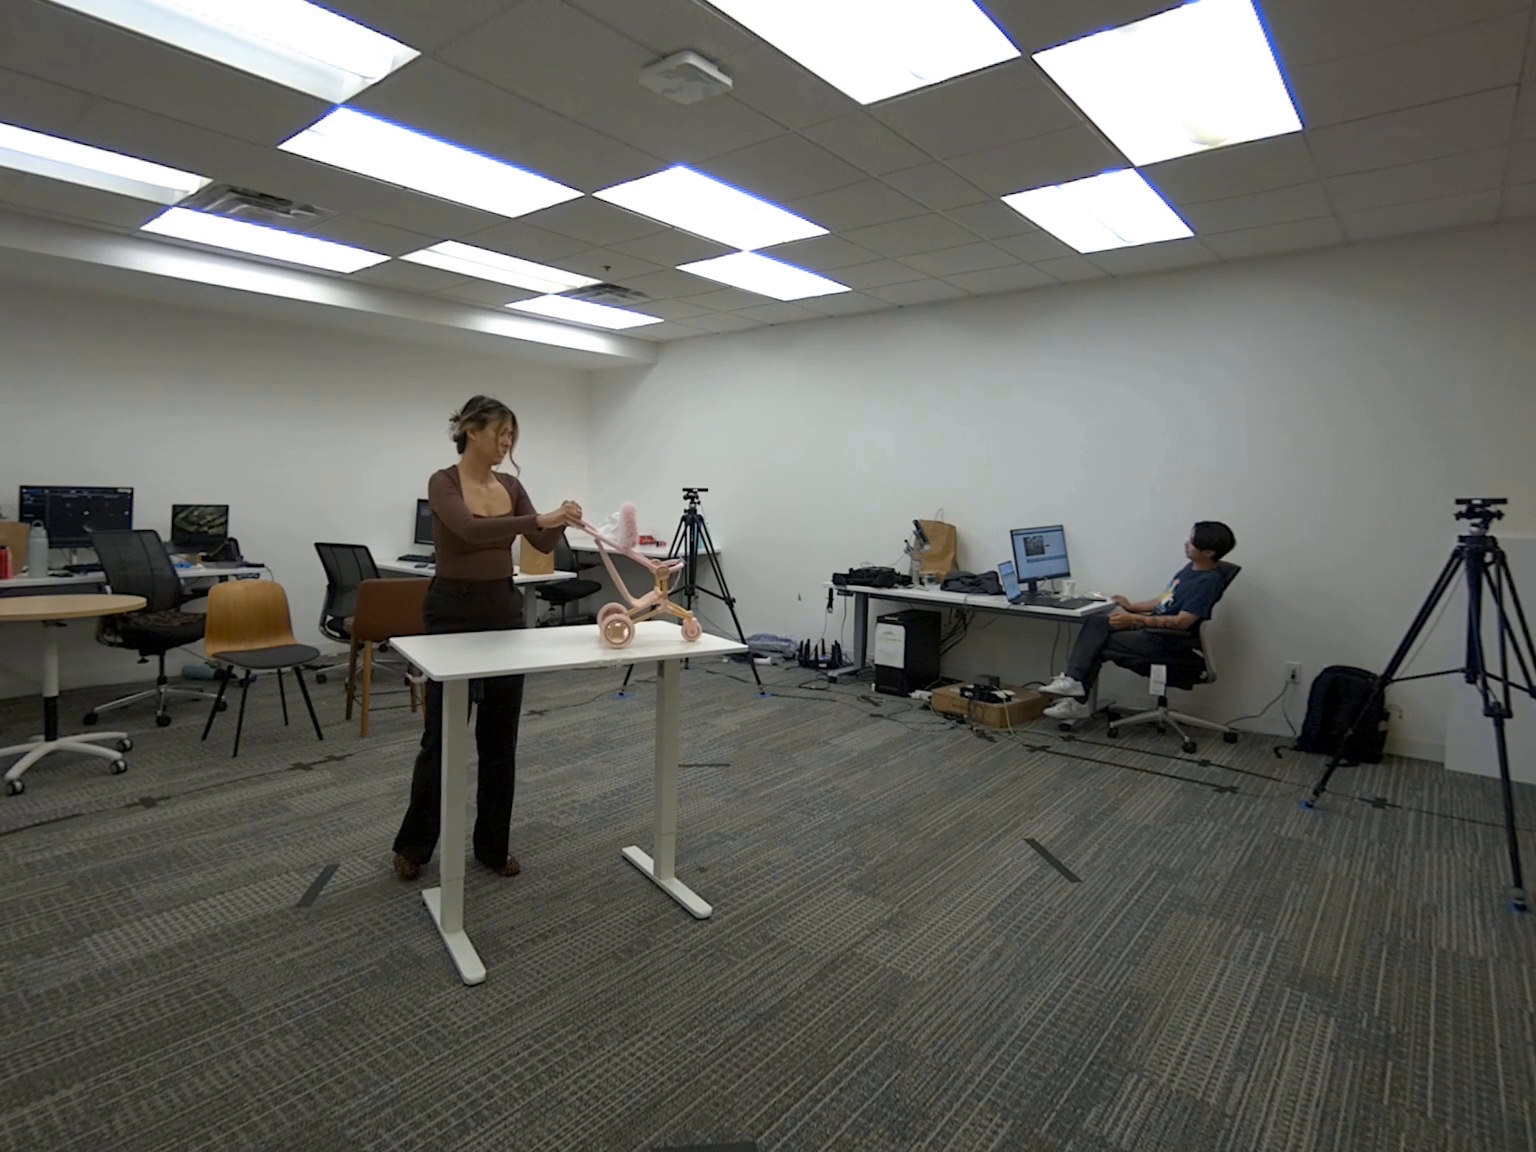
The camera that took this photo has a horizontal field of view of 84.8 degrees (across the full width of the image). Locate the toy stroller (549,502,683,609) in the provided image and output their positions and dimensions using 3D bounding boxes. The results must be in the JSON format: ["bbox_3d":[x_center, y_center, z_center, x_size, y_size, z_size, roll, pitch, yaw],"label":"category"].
[{"bbox_3d":[-0.449,-0.004,2.786,0.340,0.531,0.285,-14,6,-5],"label":"toy stroller"}]
